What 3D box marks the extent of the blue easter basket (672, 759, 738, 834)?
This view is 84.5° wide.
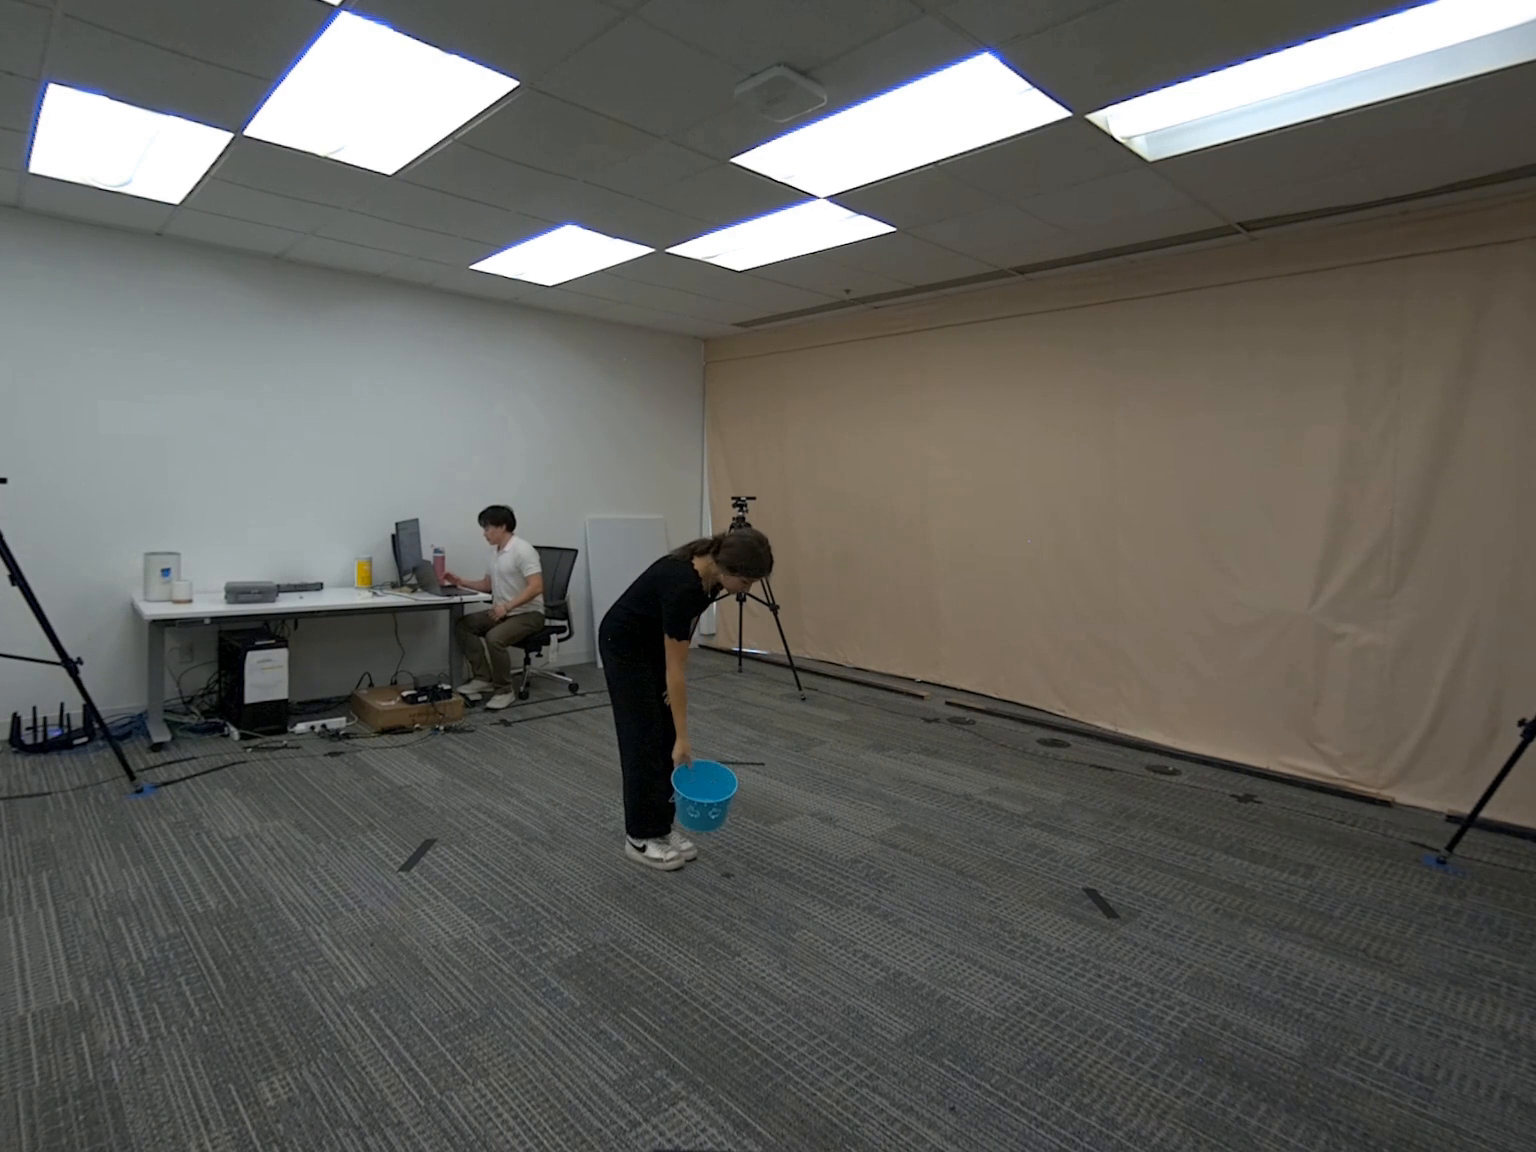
[{"bbox_3d":[-0.240,0.786,2.971,0.243,0.154,0.247,5,23,-3],"label":"blue easter basket"}]
